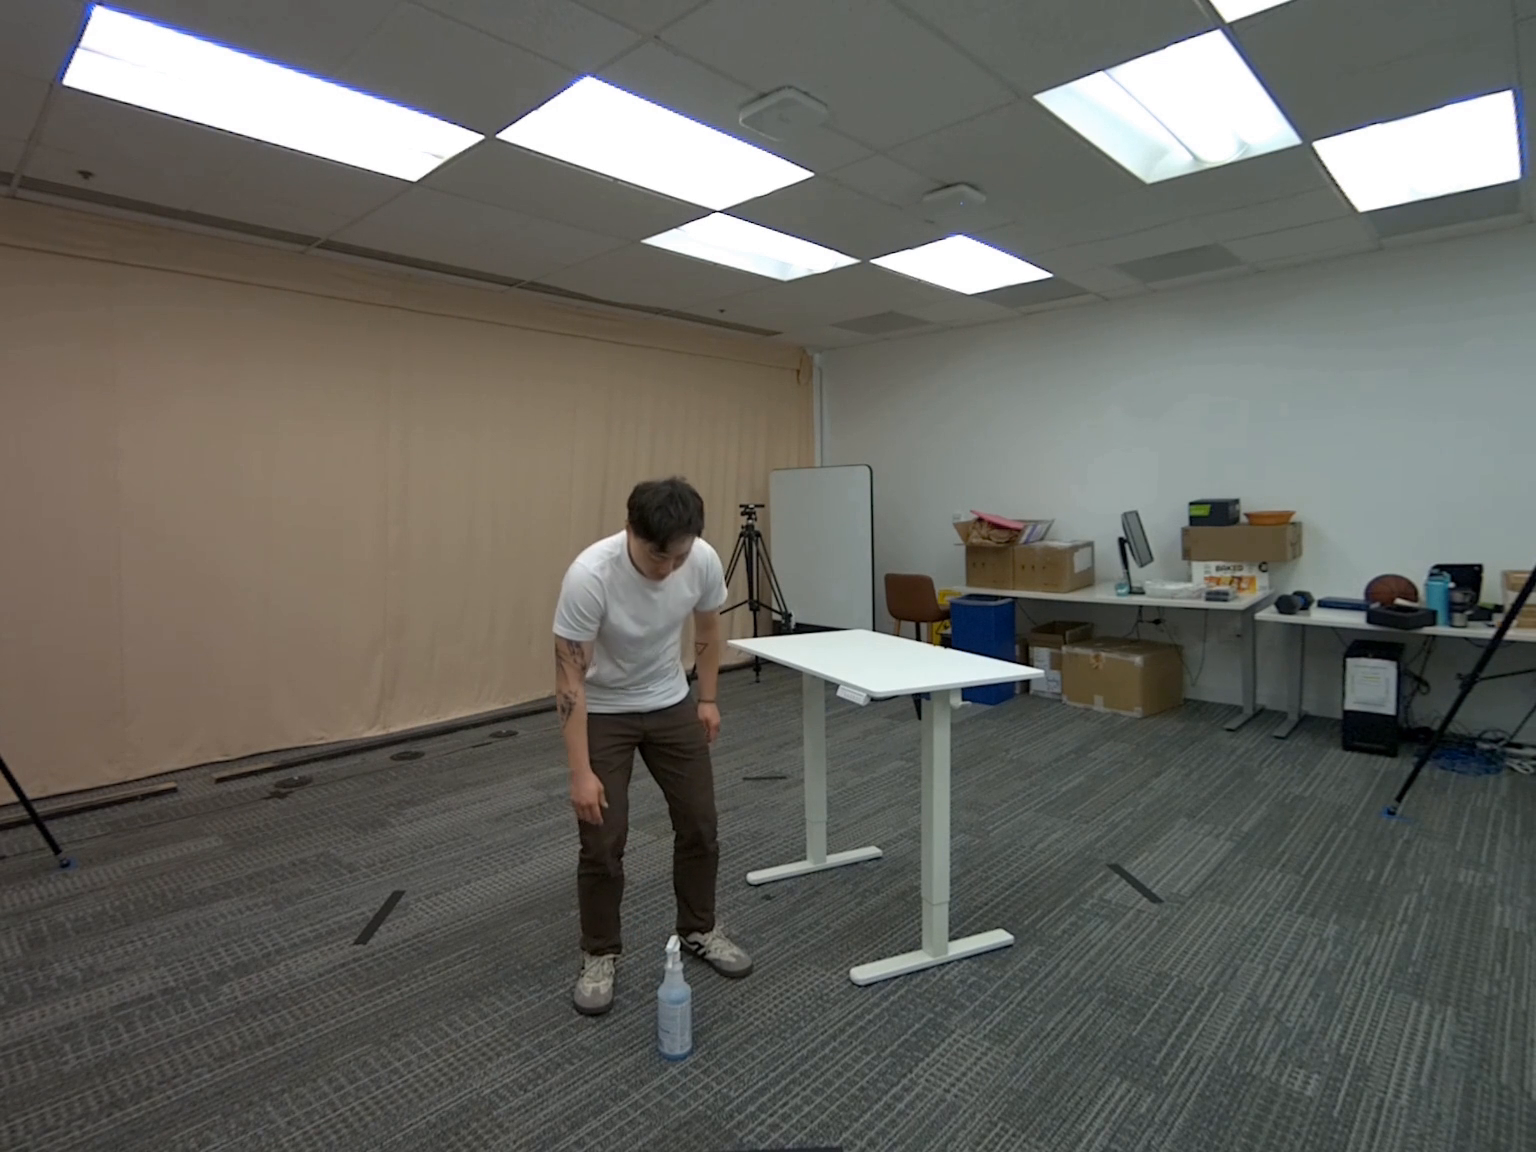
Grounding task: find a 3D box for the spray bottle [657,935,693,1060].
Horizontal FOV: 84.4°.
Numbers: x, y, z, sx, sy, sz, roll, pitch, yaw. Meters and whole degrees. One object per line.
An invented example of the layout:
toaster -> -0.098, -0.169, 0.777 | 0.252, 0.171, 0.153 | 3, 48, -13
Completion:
spray bottle -> -0.238, 1.067, 2.151 | 0.090, 0.297, 0.087 | 3, 4, 35
